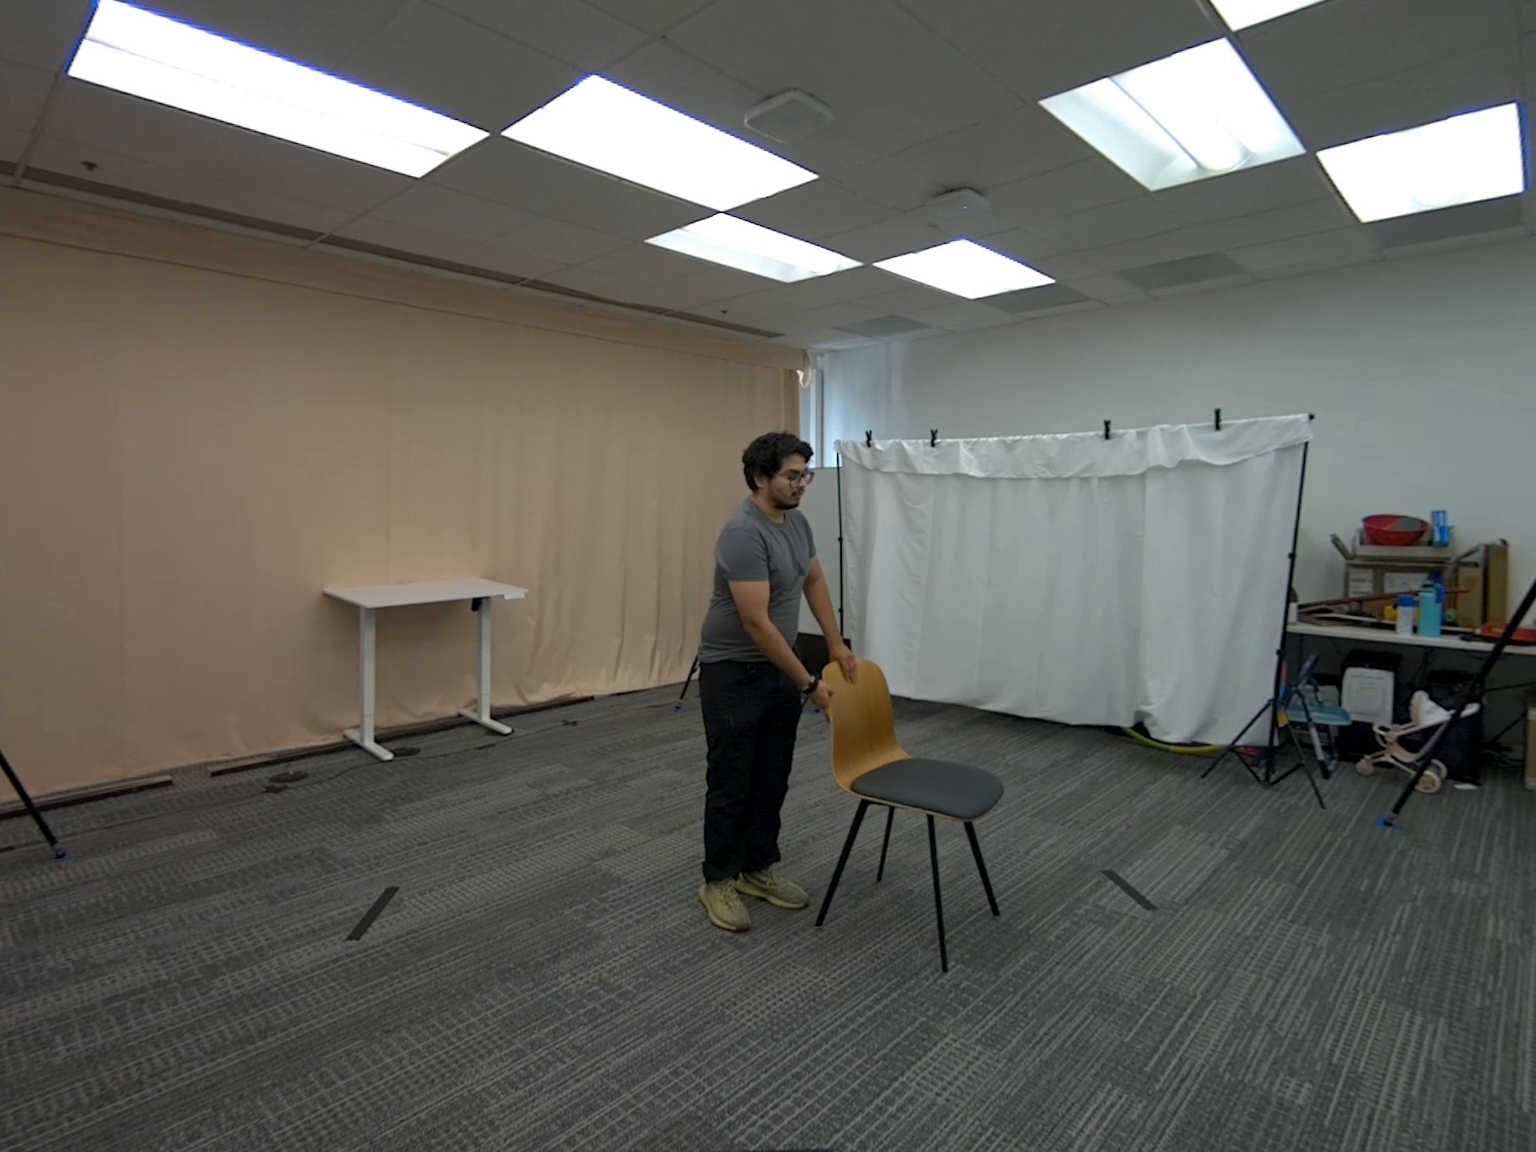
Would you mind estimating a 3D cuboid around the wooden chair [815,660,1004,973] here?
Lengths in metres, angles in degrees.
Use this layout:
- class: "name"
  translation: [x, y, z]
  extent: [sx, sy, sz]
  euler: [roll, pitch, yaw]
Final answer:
- class: "wooden chair"
  translation: [0.488, 0.728, 2.786]
  extent: [0.539, 0.877, 0.464]
  euler: [-3, 0, 37]
